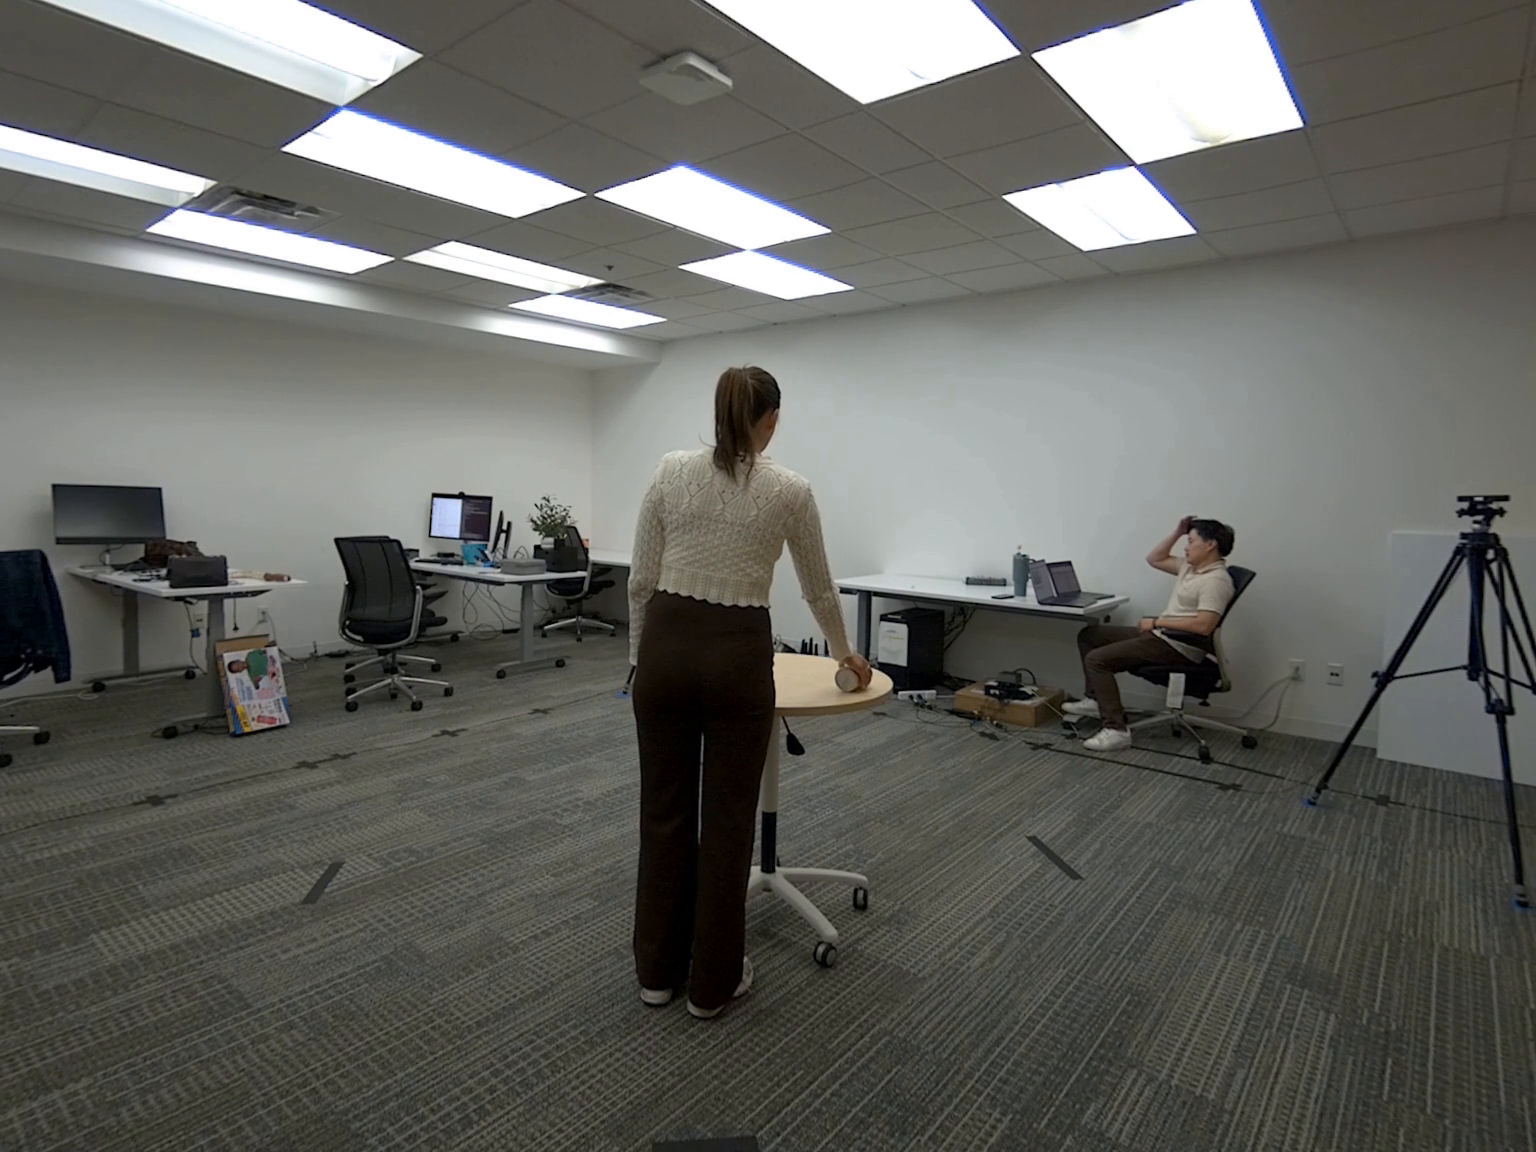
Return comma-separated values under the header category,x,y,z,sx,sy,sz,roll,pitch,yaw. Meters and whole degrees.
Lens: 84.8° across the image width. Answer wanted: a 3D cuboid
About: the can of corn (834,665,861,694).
category,x,y,z,sx,sy,sz,roll,pitch,yaw
can of corn,0.246,0.301,2.606,0.076,0.074,0.109,3,9,27
